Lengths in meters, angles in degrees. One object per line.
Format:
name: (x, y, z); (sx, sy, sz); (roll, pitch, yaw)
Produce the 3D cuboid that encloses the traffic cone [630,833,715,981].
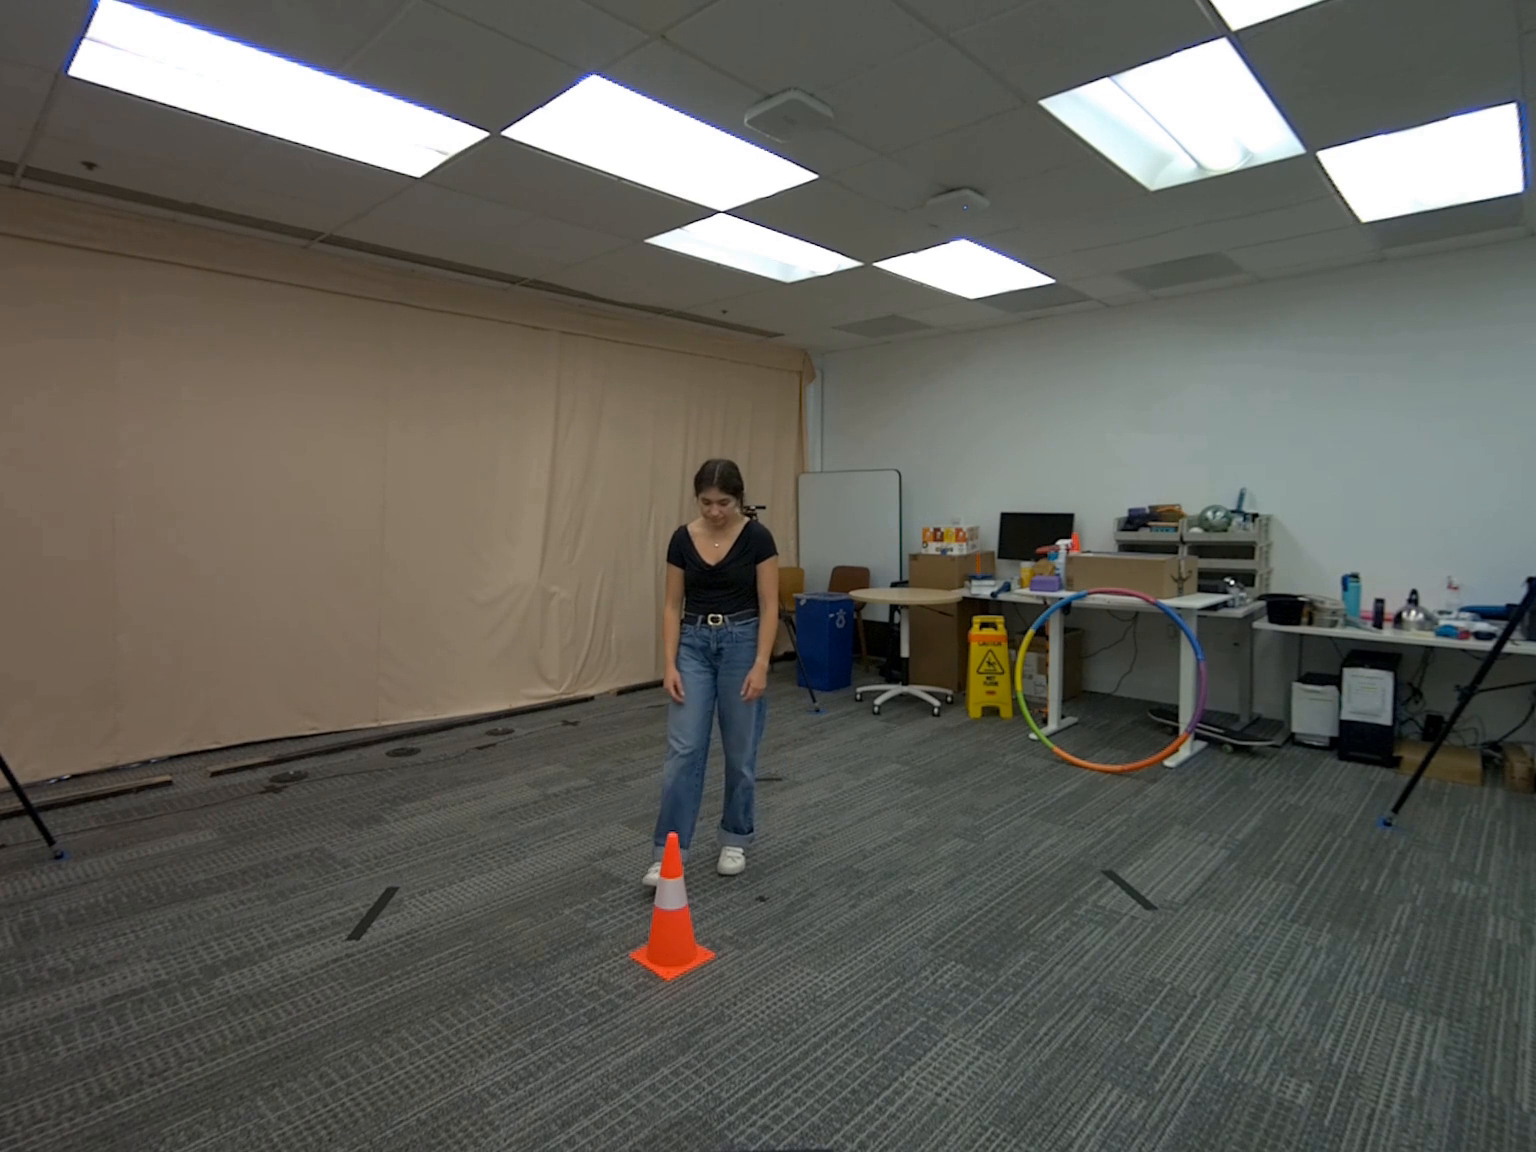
traffic cone: (-0.286, 0.994, 2.598); (0.210, 0.382, 0.199); (5, 6, 44)
